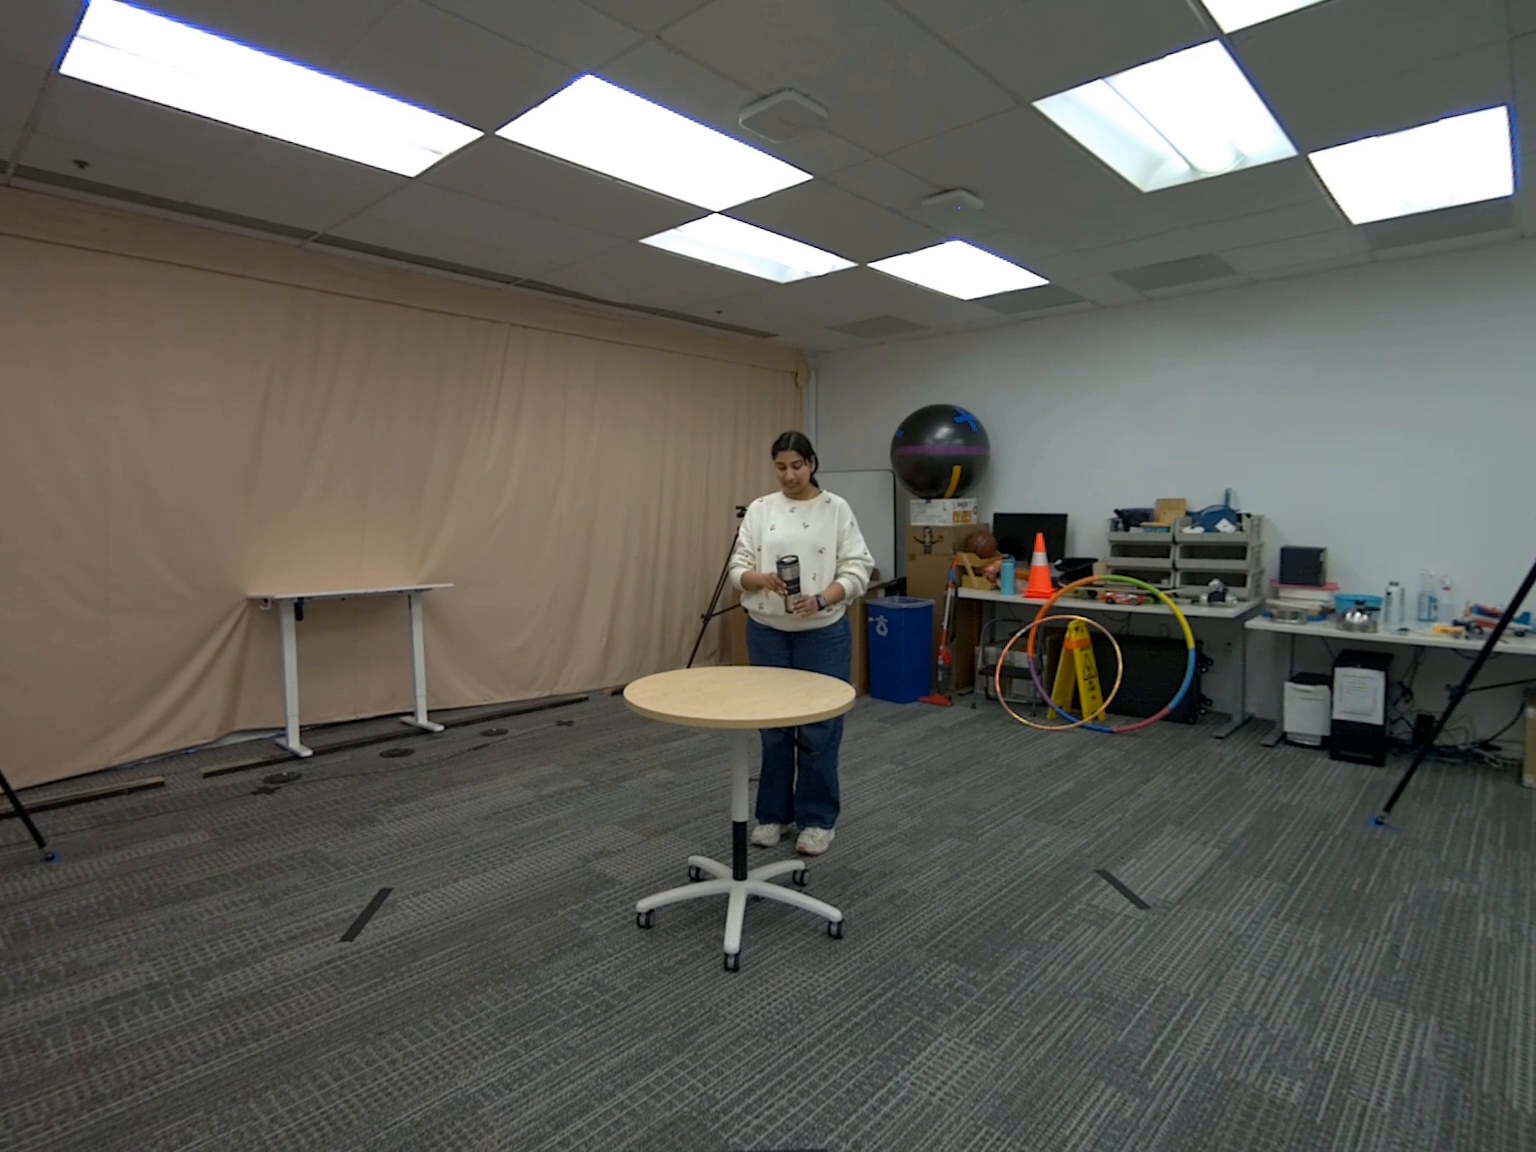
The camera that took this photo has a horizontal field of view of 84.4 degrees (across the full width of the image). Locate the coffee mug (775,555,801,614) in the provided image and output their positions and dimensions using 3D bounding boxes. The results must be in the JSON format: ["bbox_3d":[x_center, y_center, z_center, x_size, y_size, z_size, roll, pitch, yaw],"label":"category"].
[{"bbox_3d":[0.084,0.027,3.144,0.089,0.200,0.122,-10,15,12],"label":"coffee mug"}]
